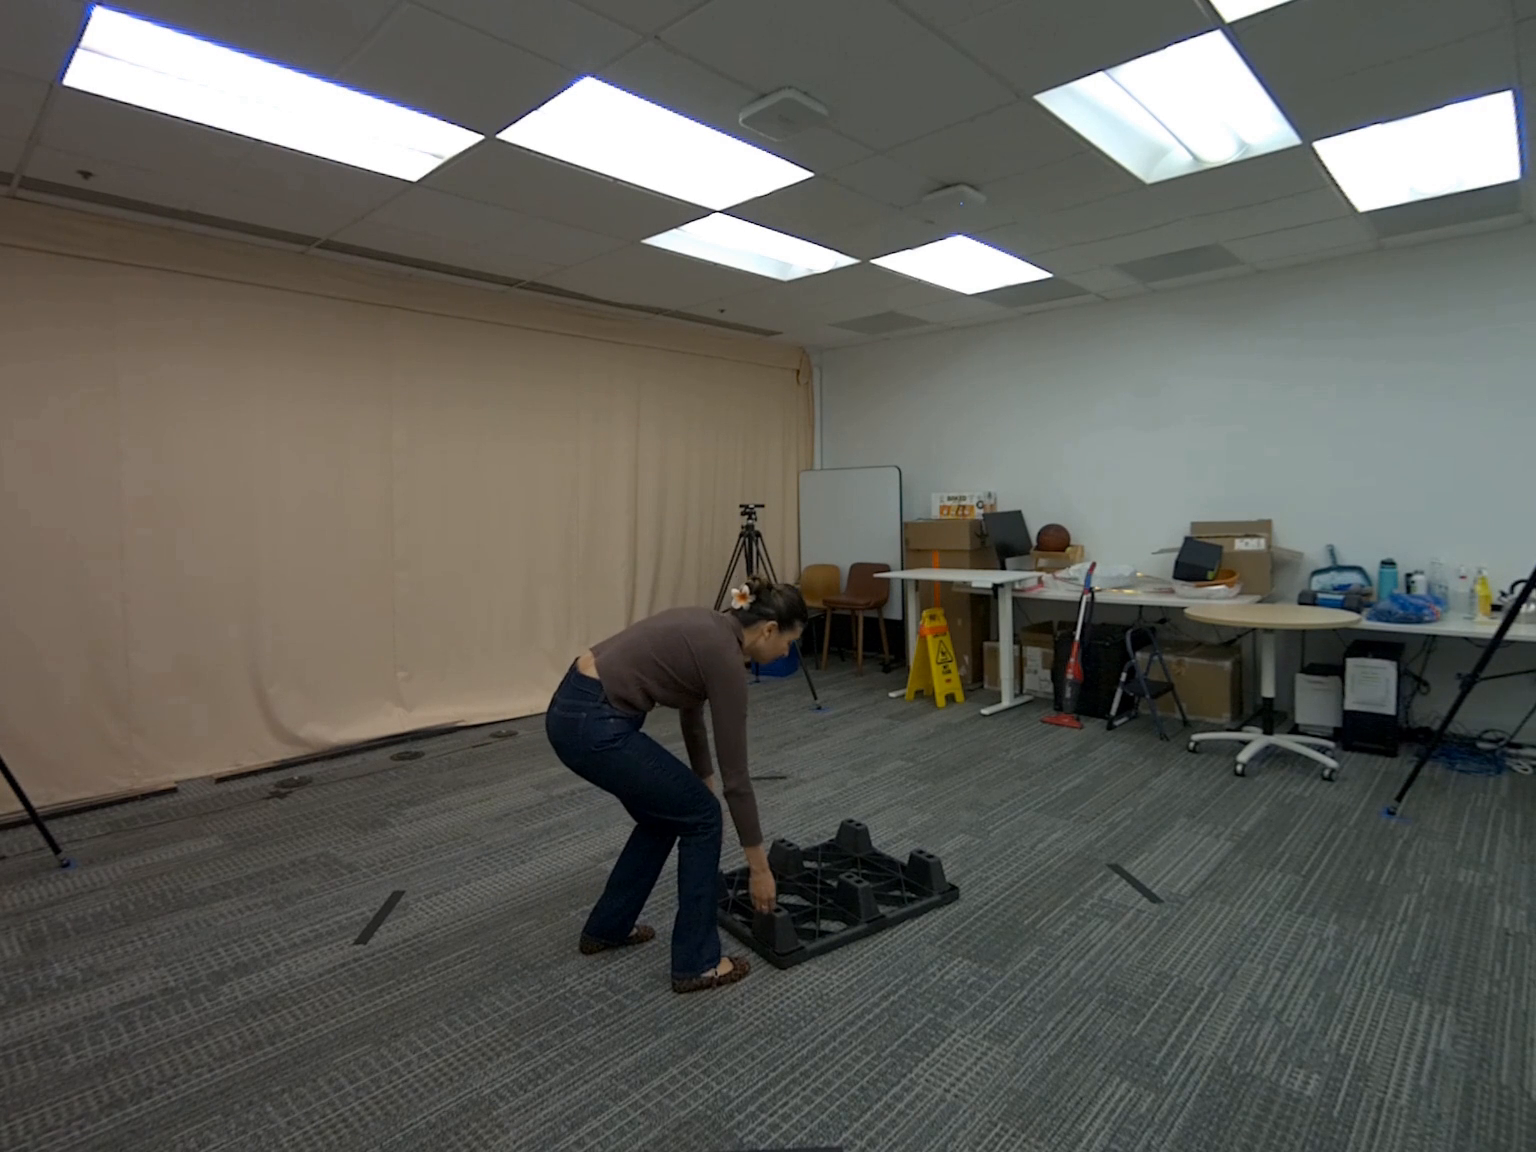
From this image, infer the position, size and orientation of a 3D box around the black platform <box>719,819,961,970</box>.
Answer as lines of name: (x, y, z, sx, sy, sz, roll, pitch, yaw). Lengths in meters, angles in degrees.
black platform: (0.183, 1.068, 2.975, 0.782, 0.143, 0.624, -4, 6, -35)
